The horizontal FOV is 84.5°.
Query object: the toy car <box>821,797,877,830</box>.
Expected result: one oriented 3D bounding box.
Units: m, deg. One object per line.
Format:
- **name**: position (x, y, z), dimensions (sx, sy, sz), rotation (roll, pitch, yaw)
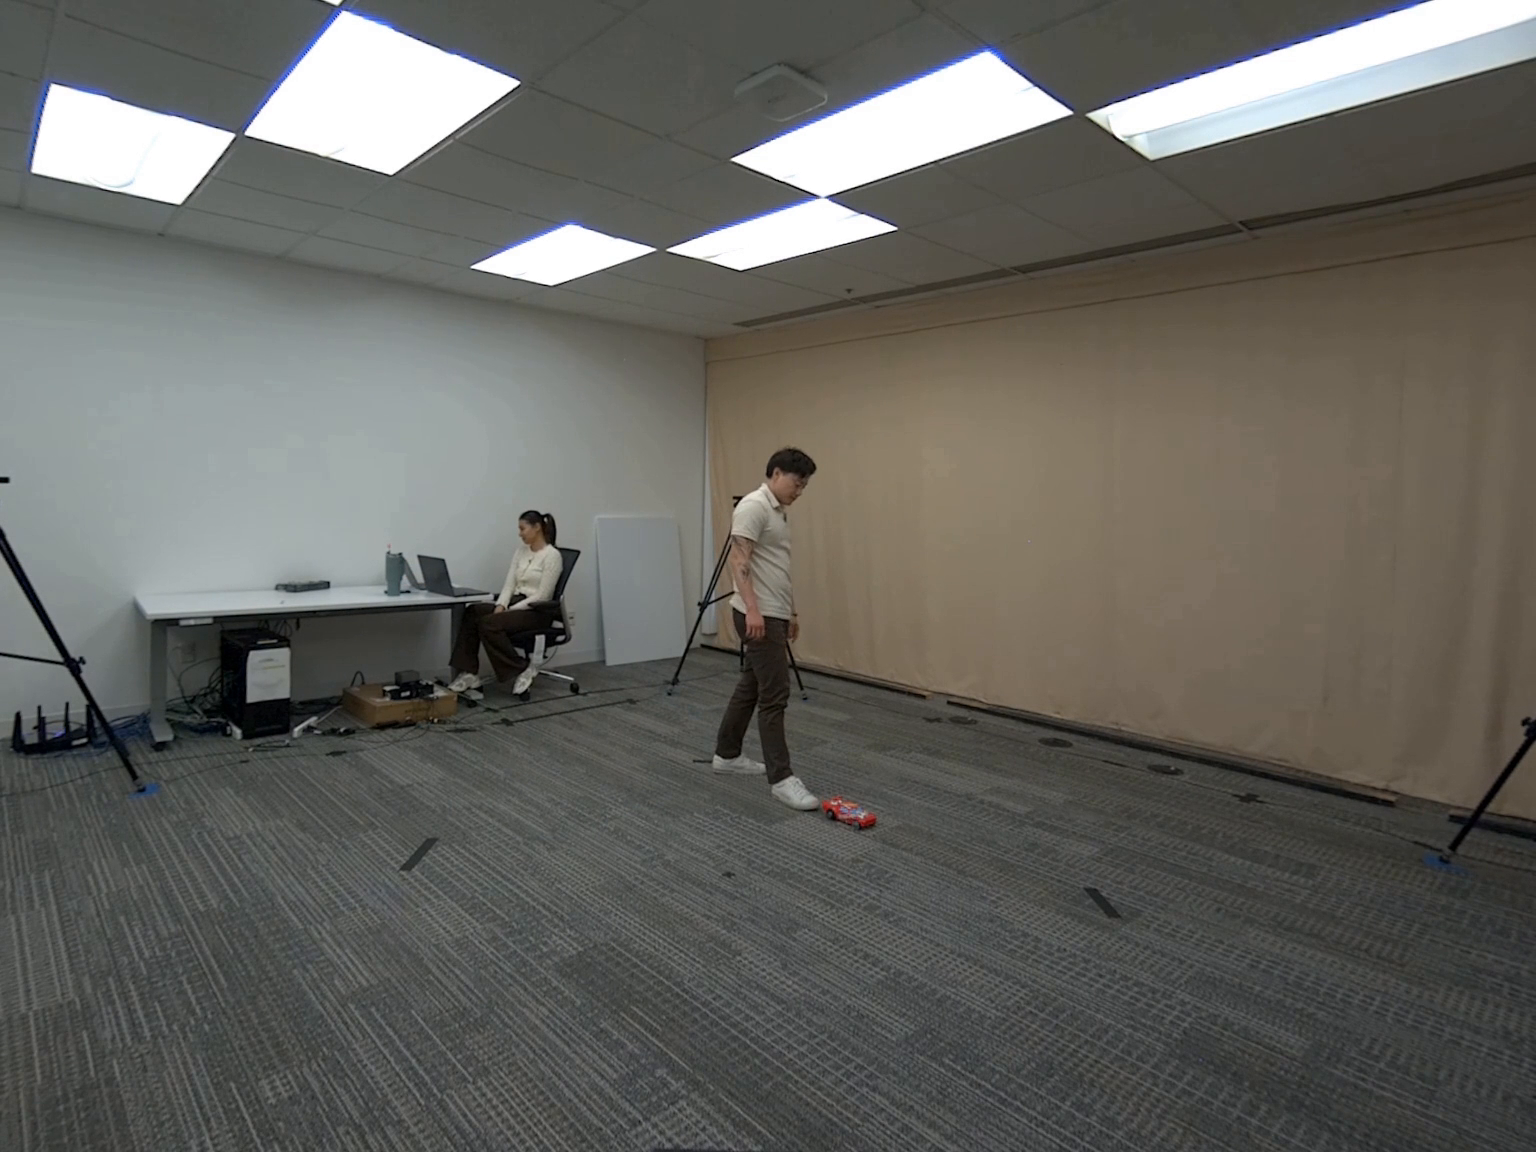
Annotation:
- **toy car**: position (0.340, 1.036, 3.671), dimensions (0.127, 0.082, 0.262), rotation (-2, 16, -41)
